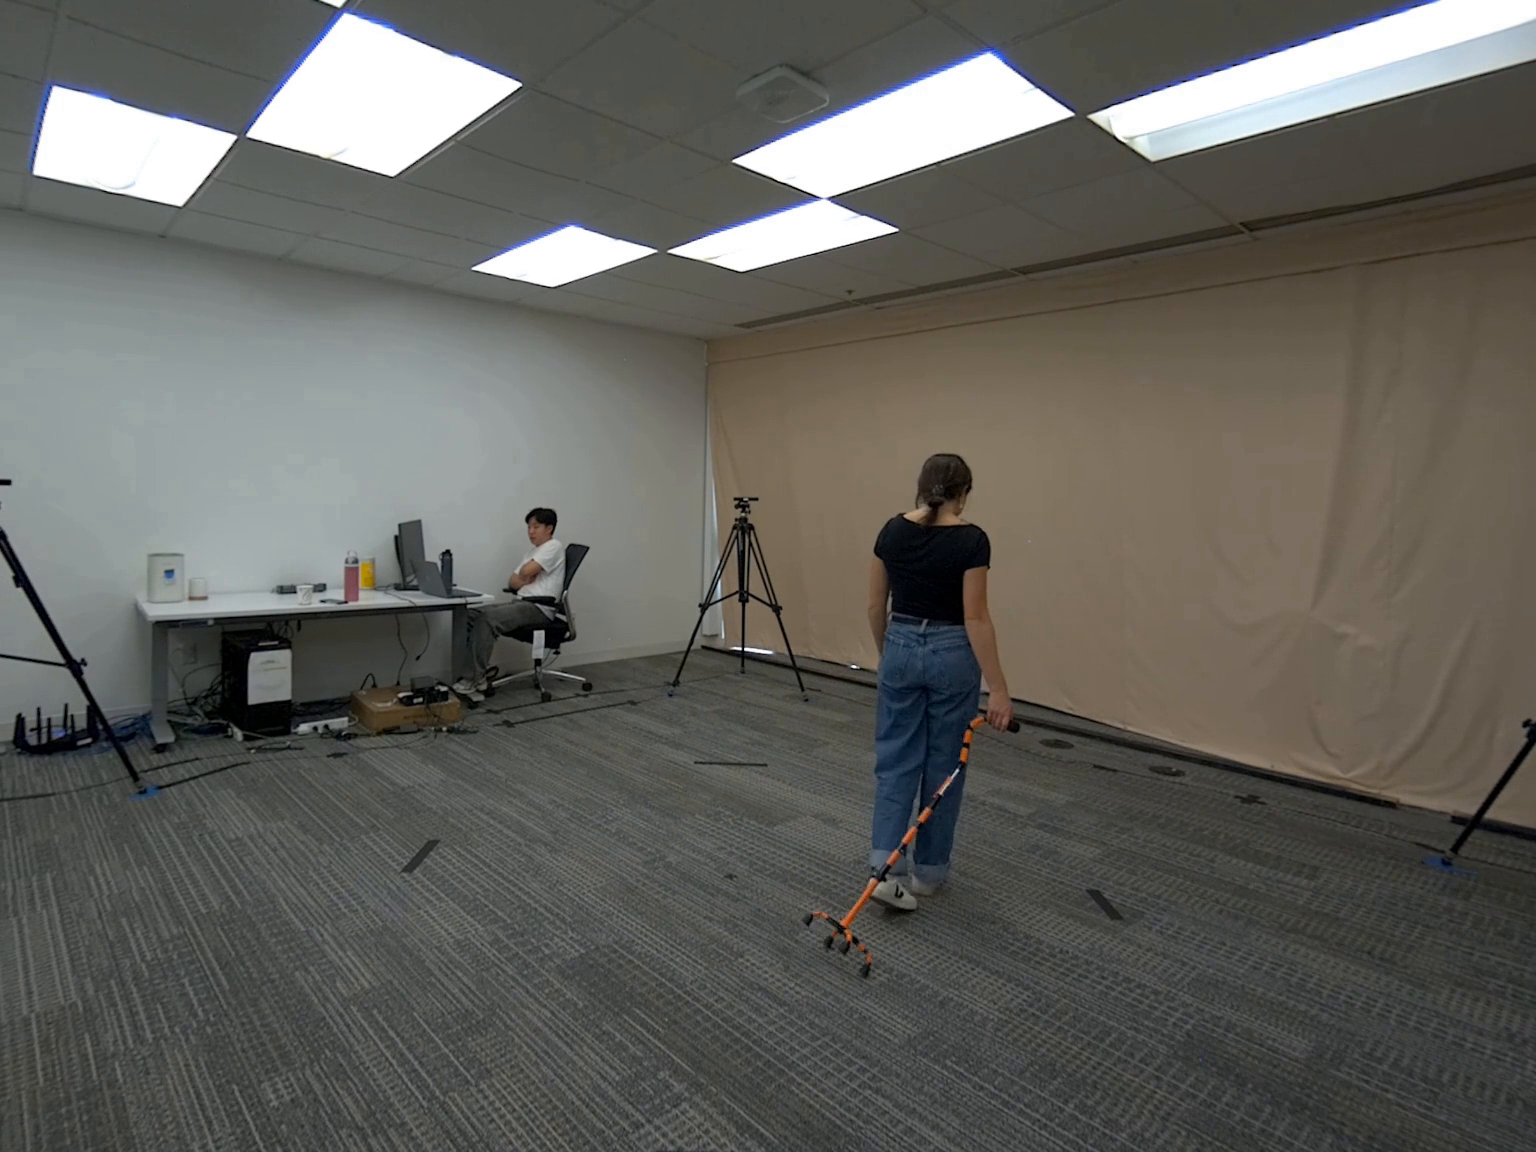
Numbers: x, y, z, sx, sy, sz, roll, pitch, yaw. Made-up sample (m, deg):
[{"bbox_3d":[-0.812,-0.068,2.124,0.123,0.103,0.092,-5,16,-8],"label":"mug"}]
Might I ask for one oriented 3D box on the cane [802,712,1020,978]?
[{"bbox_3d":[0.475,0.801,2.652,0.908,0.148,0.211,-47,26,-18],"label":"cane"}]
